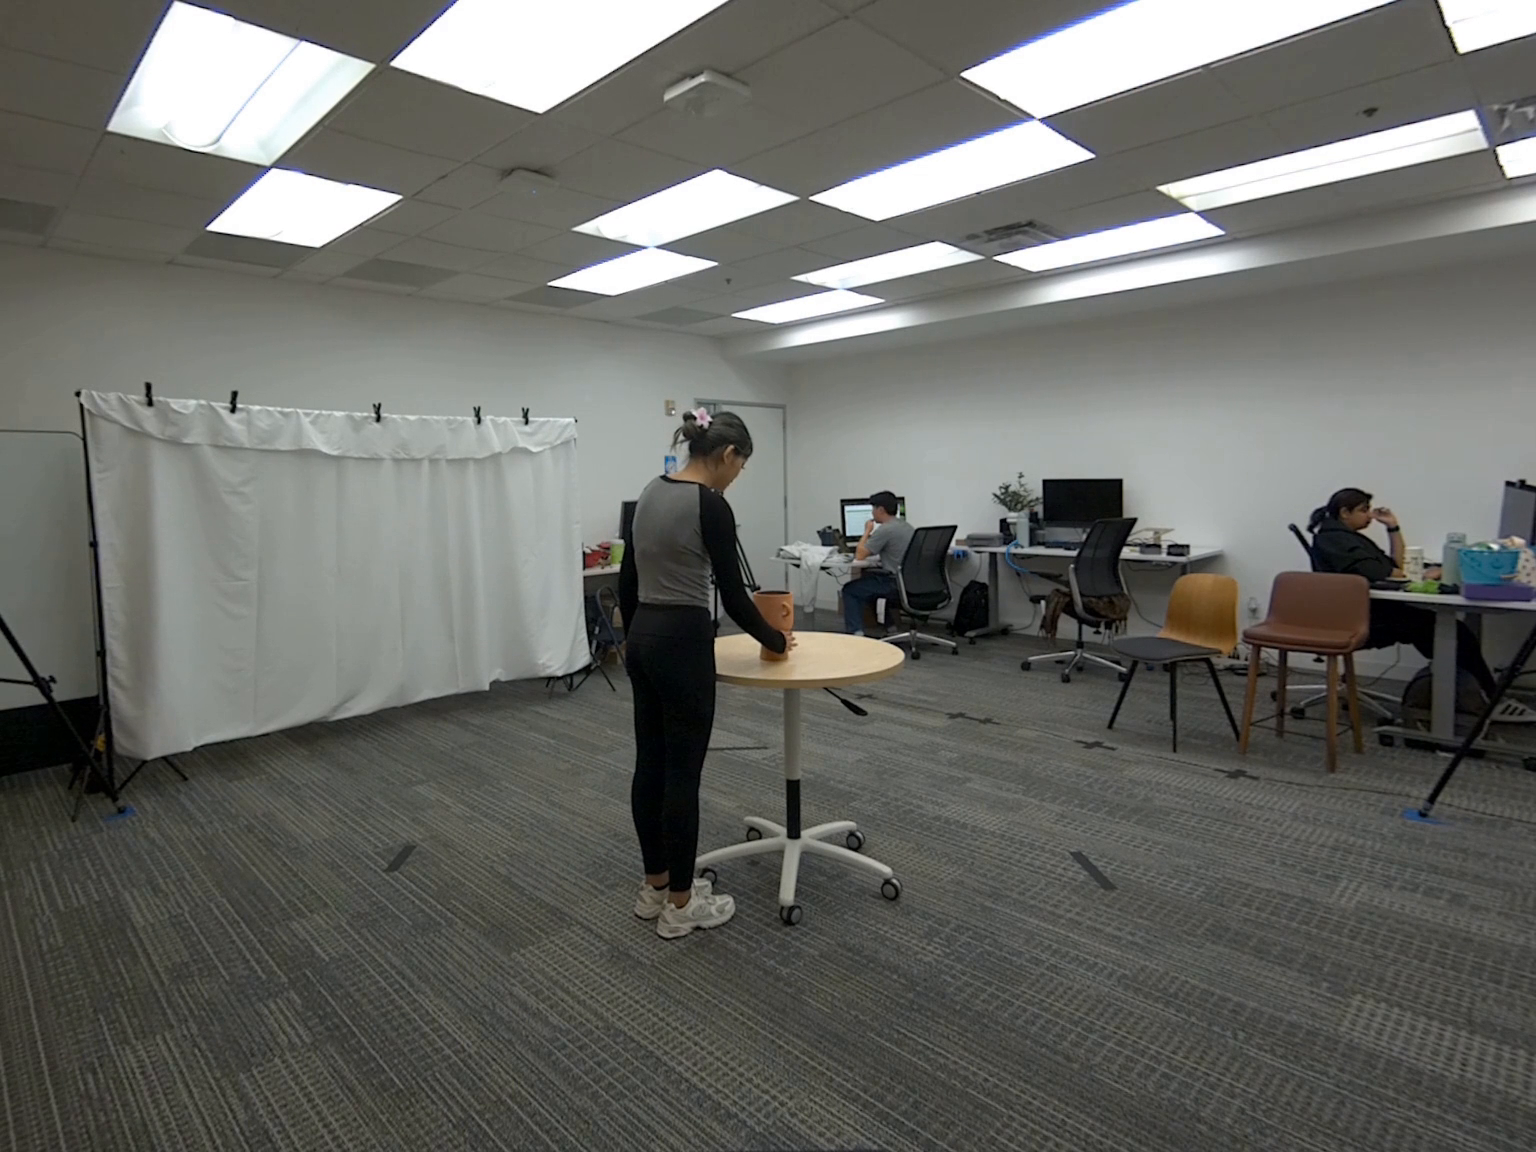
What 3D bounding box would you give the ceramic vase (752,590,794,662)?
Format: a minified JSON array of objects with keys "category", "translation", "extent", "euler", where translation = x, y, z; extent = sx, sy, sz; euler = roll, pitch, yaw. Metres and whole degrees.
[{"category":"ceramic vase","translation":[0.024,0.167,2.865],"extent":[0.136,0.219,0.158],"euler":[0,5,9]}]
